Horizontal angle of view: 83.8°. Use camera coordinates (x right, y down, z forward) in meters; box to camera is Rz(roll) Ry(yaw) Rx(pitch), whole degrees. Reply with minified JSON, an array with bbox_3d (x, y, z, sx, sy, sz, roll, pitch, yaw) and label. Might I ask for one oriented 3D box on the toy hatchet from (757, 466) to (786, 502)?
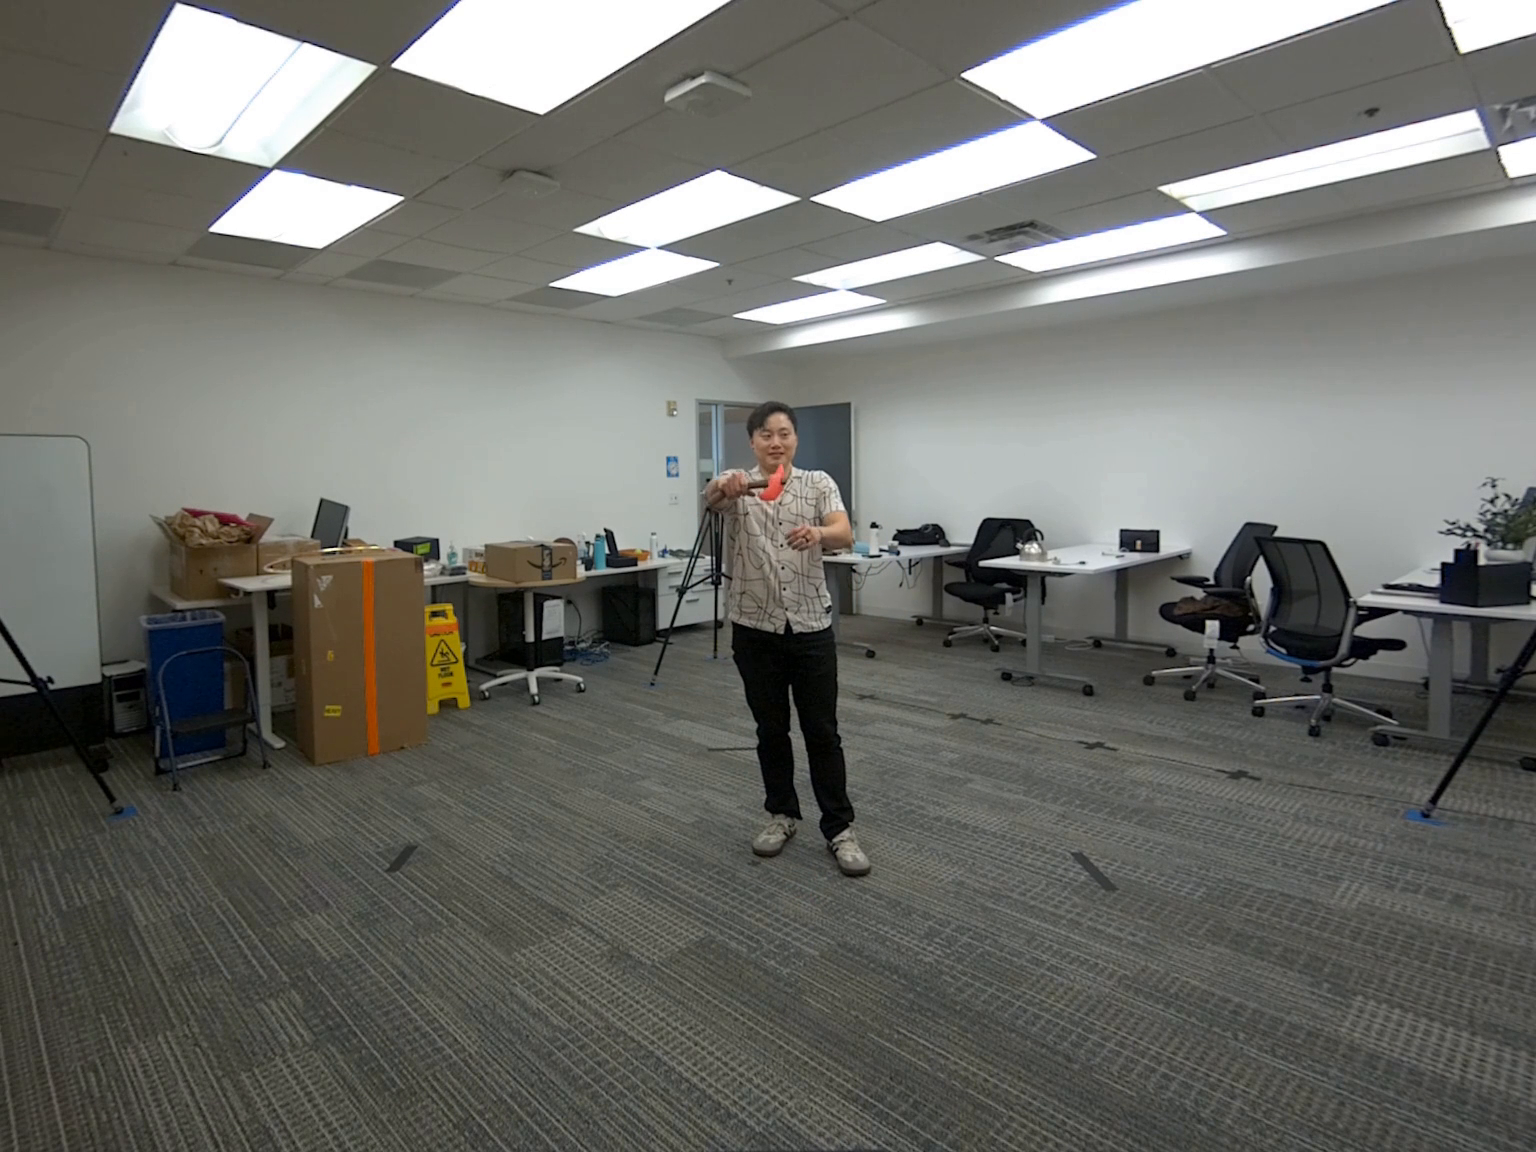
[{"bbox_3d":[-0.057,-0.243,2.630,0.273,0.135,0.028,-24,-40,24],"label":"toy hatchet"}]
